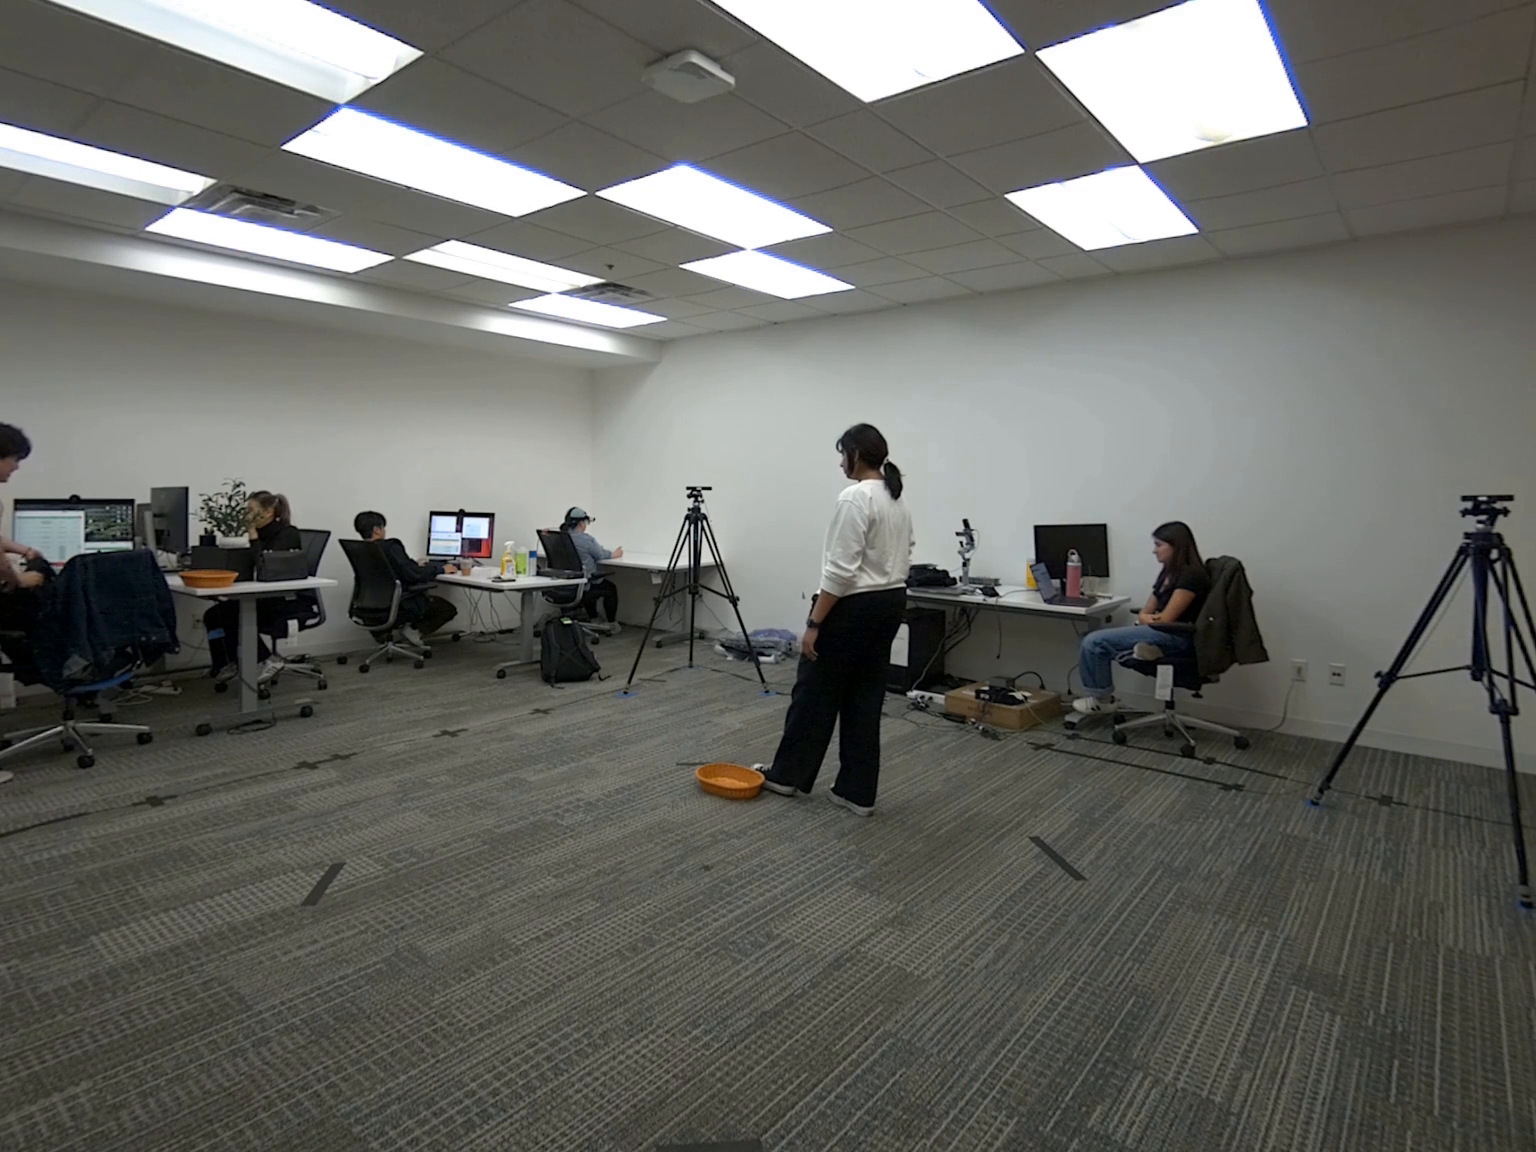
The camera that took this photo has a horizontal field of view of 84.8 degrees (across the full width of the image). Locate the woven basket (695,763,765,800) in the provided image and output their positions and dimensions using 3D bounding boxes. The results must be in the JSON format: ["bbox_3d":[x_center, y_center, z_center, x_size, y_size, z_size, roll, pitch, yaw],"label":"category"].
[{"bbox_3d":[-0.183,0.946,3.926,0.362,0.073,0.245,7,9,42],"label":"woven basket"}]
